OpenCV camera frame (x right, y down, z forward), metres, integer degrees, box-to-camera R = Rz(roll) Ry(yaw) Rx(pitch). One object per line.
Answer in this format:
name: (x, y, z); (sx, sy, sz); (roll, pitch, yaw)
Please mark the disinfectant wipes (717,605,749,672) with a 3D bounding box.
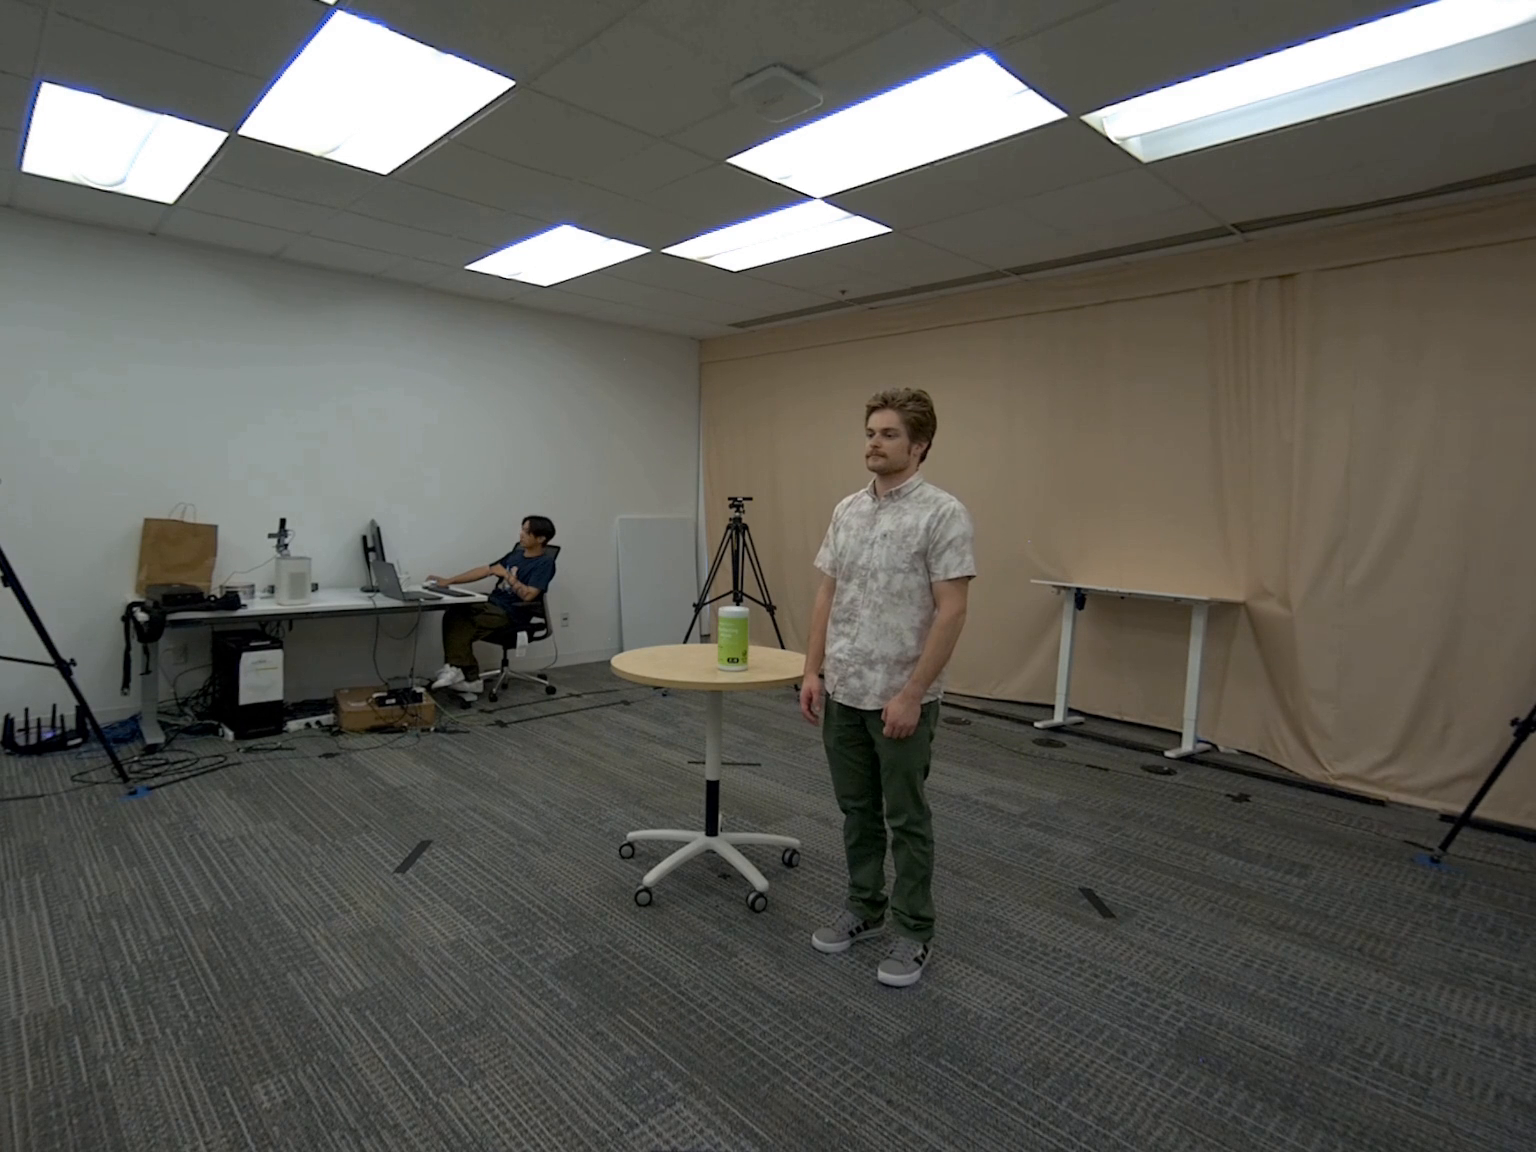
disinfectant wipes: (-0.122, 0.218, 2.951); (0.118, 0.216, 0.118); (0, 7, -1)
